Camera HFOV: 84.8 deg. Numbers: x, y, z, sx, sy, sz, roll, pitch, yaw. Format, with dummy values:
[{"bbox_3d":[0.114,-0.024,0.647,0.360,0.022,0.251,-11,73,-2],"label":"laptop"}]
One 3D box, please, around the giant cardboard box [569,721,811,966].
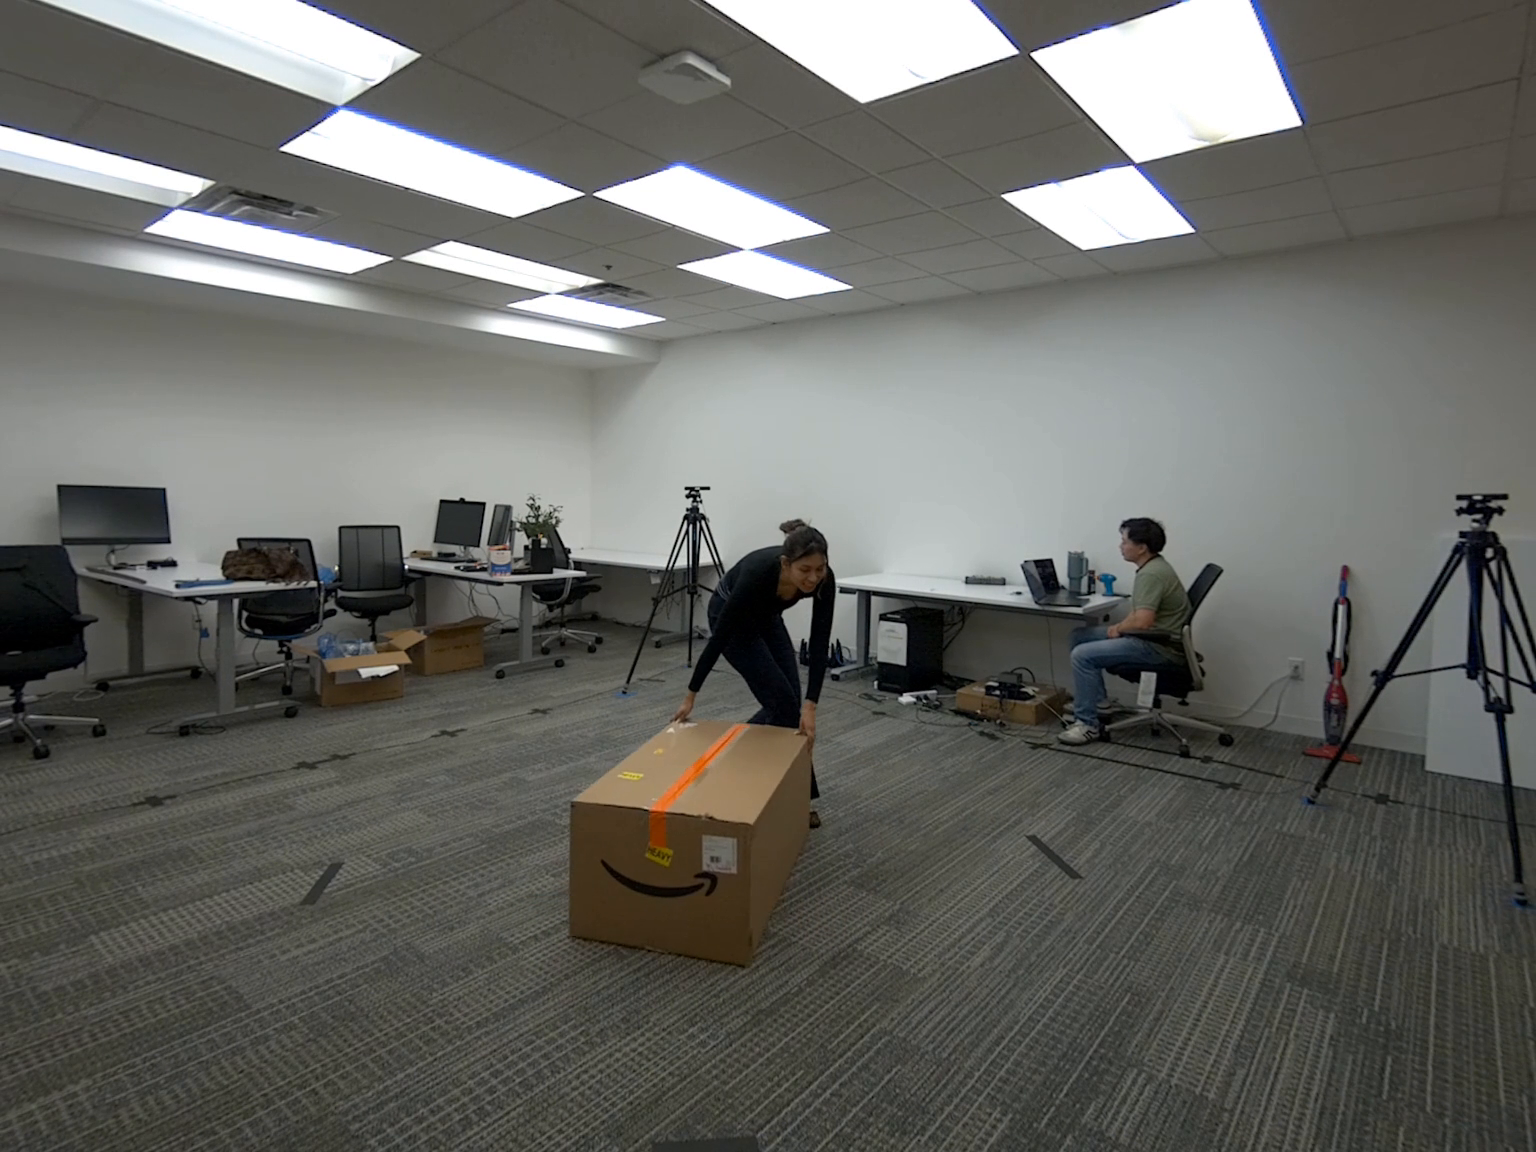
[{"bbox_3d":[-0.229,0.858,3.013,0.587,0.424,1.013,2,5,13],"label":"giant cardboard box"}]
